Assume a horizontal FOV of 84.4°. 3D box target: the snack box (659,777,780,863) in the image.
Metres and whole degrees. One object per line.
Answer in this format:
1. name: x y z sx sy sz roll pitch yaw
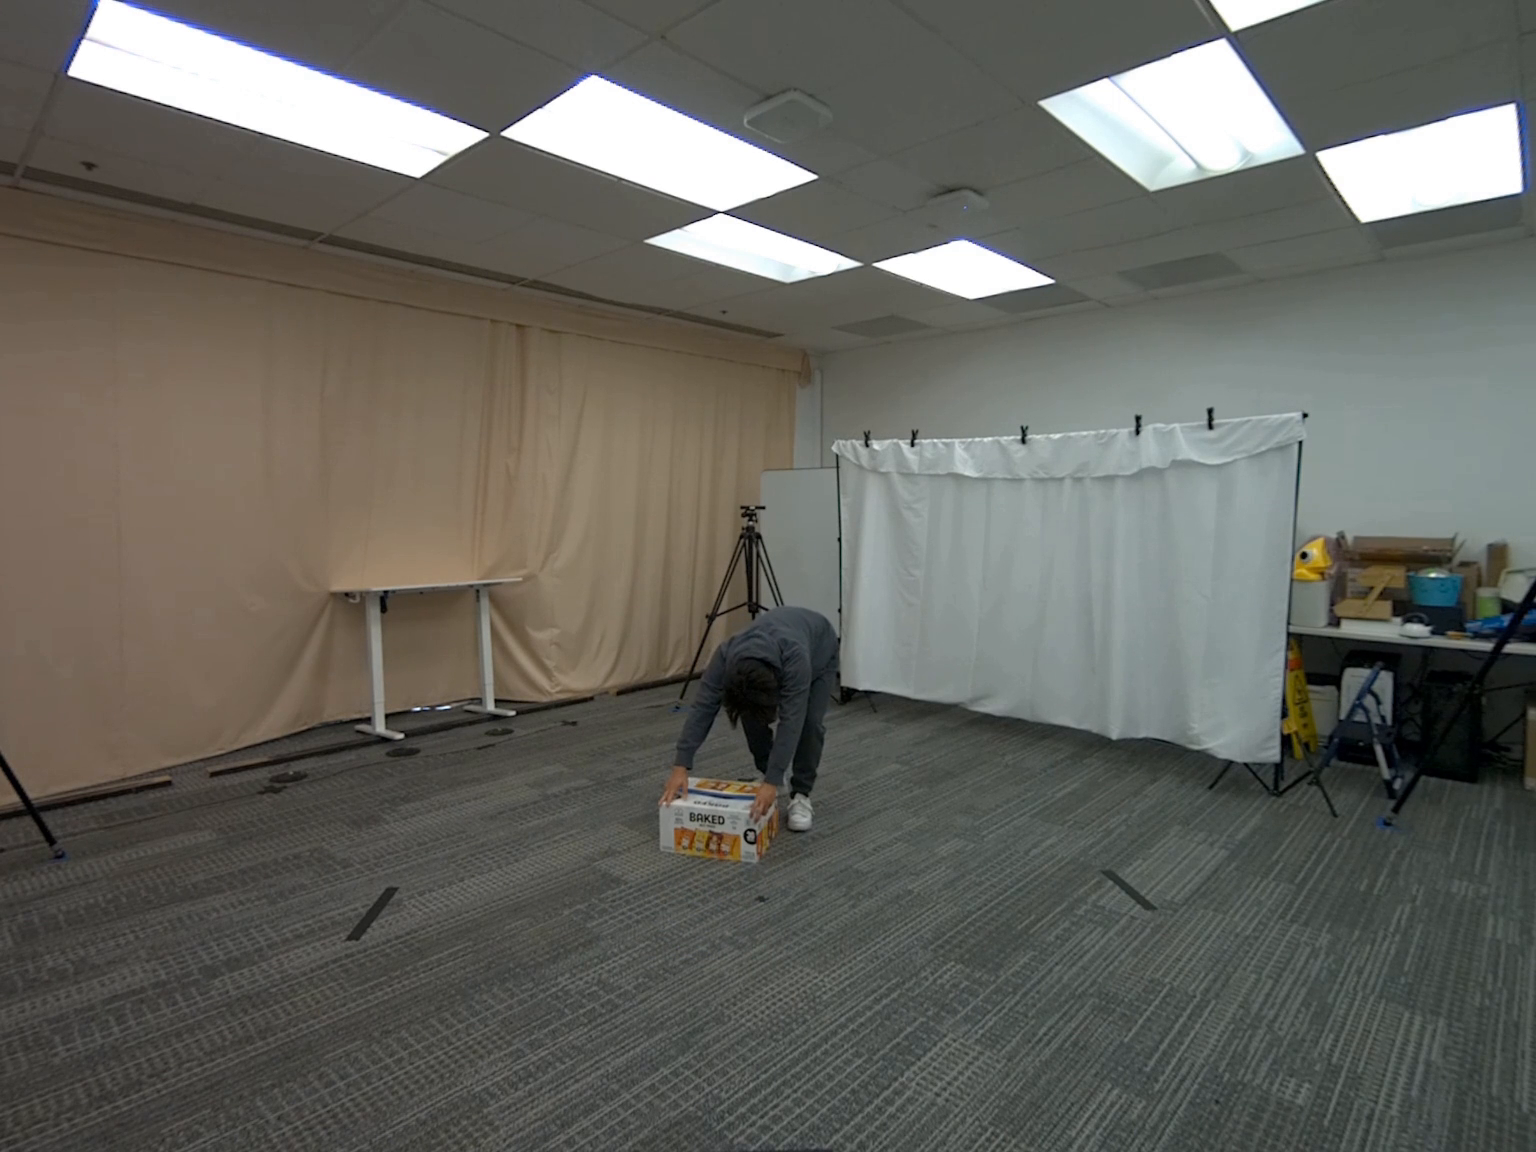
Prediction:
1. snack box: -0.196 1.003 3.494 0.413 0.205 0.335 1 4 17
